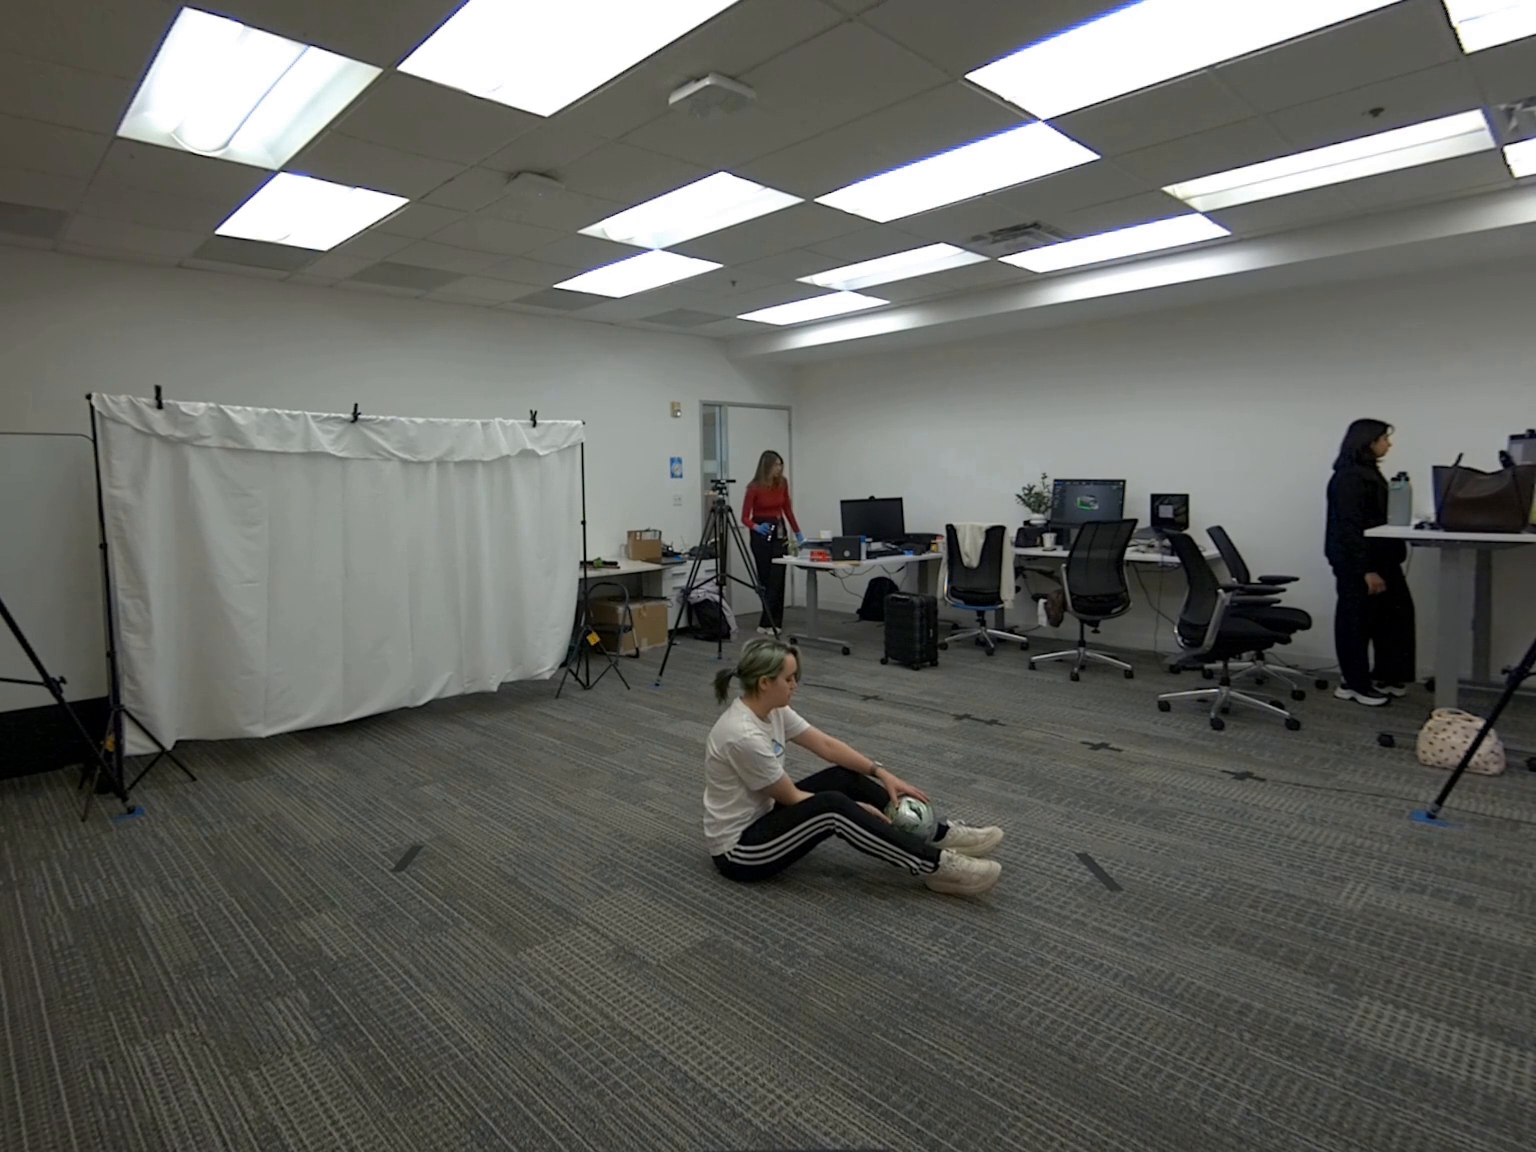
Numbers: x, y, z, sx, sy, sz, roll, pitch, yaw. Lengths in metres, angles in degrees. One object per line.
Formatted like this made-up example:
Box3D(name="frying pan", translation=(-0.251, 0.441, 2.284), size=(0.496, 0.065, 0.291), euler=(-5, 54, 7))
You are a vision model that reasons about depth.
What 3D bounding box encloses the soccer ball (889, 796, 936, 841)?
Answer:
Box3D(name="soccer ball", translation=(0.483, 0.859, 2.981), size=(0.187, 0.187, 0.188), euler=(-1, 5, -2))
